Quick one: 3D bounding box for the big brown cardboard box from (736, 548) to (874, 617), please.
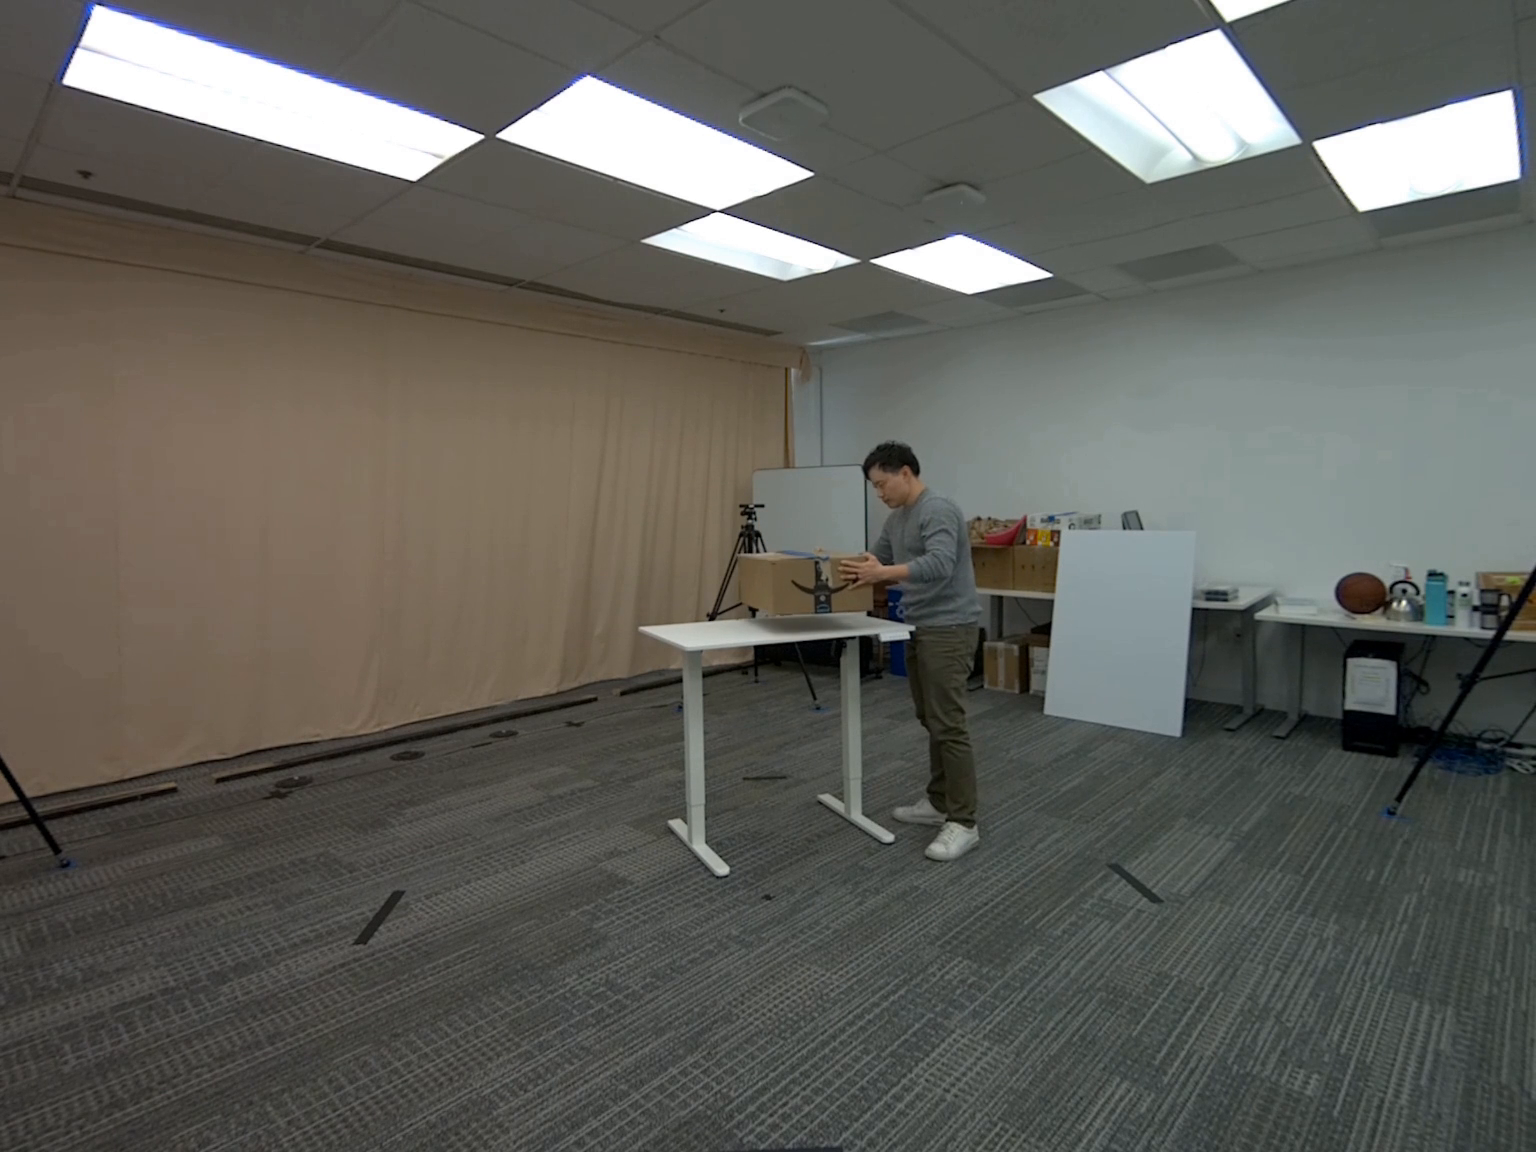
[{"bbox_3d":[0.142,0.020,3.573,0.412,0.232,0.599,-3,5,-14],"label":"big brown cardboard box"}]
